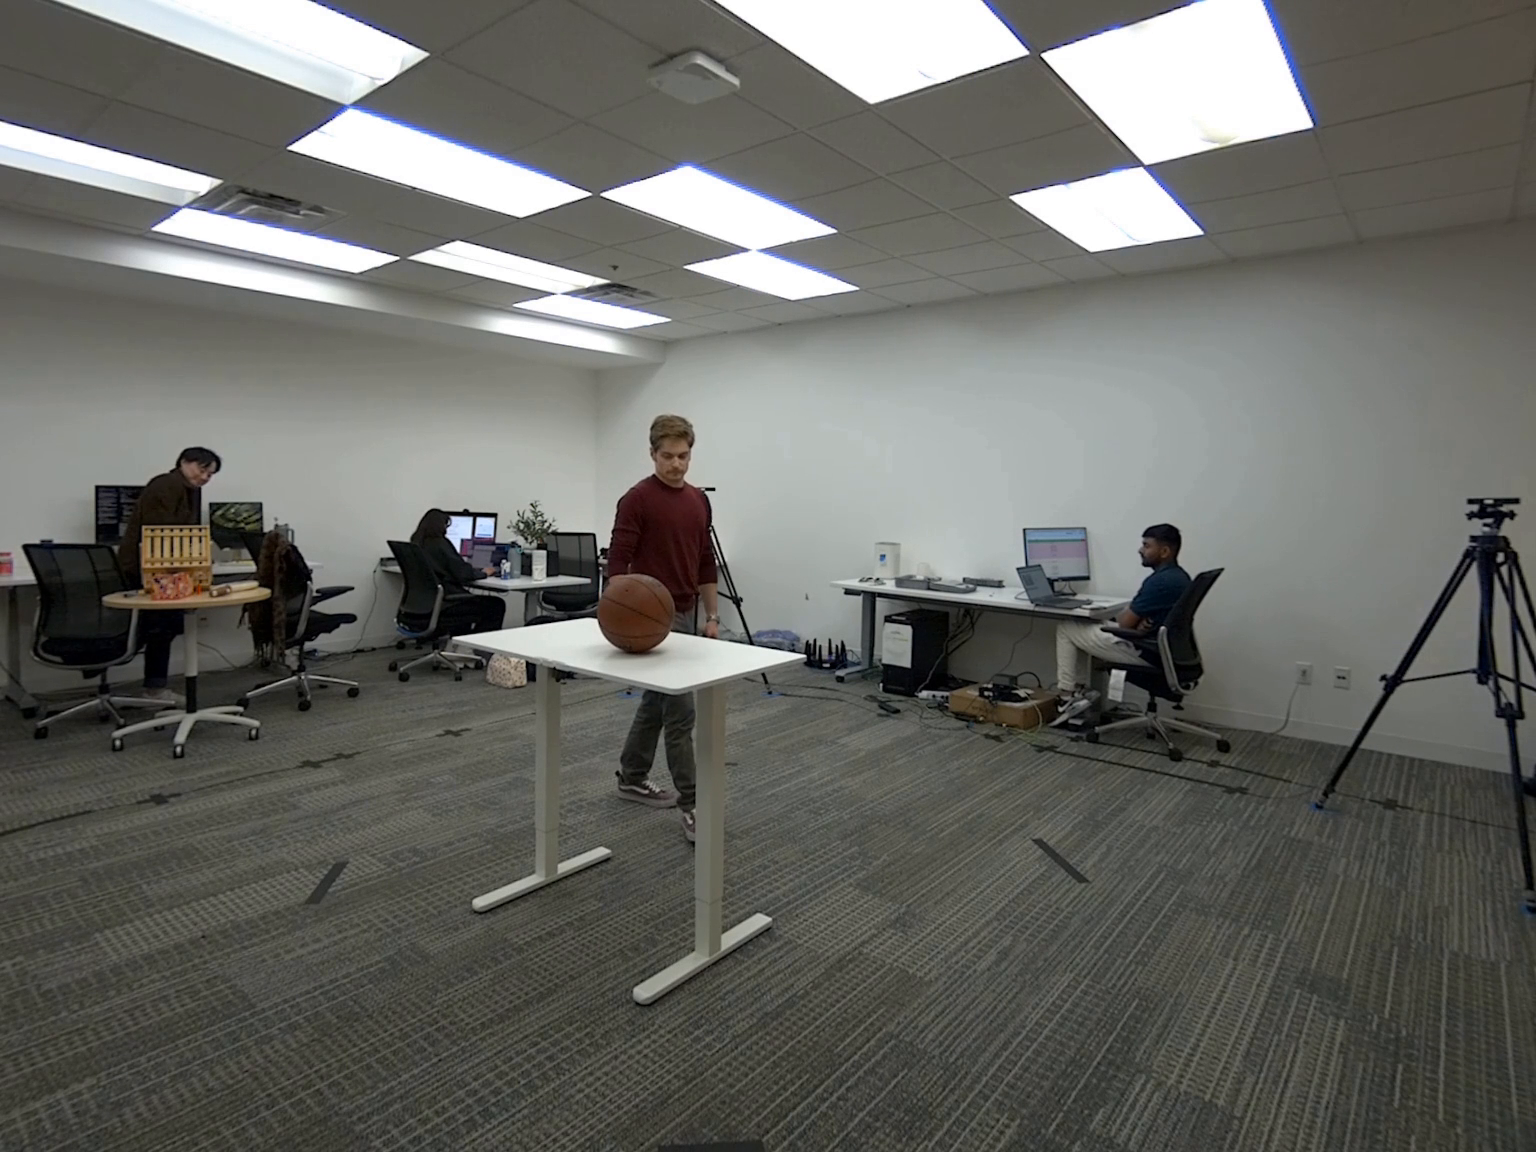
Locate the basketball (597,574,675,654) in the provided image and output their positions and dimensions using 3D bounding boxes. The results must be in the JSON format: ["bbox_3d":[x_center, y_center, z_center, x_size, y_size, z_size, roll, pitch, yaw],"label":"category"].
[{"bbox_3d":[-0.414,0.107,2.620,0.235,0.235,0.237,1,4,-2],"label":"basketball"}]
